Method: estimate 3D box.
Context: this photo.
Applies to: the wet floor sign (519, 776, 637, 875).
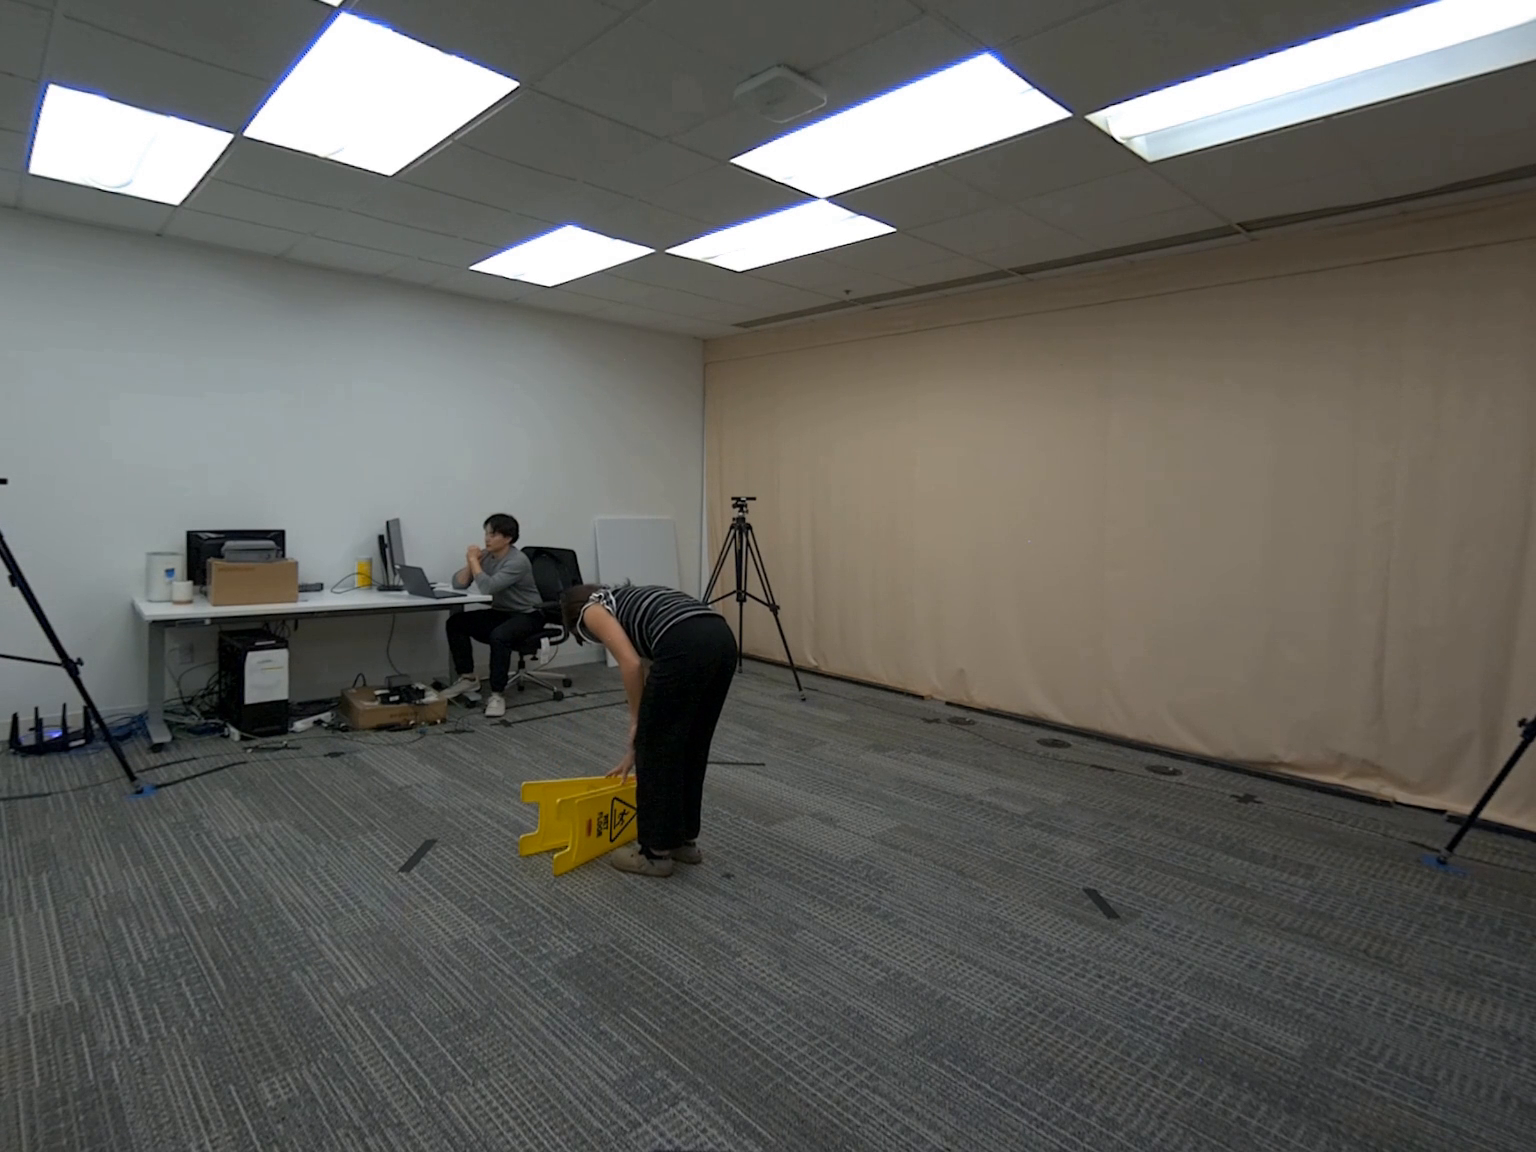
[{"bbox_3d":[-0.656,0.944,3.377,0.297,0.282,0.630,4,2,43],"label":"wet floor sign"}]
